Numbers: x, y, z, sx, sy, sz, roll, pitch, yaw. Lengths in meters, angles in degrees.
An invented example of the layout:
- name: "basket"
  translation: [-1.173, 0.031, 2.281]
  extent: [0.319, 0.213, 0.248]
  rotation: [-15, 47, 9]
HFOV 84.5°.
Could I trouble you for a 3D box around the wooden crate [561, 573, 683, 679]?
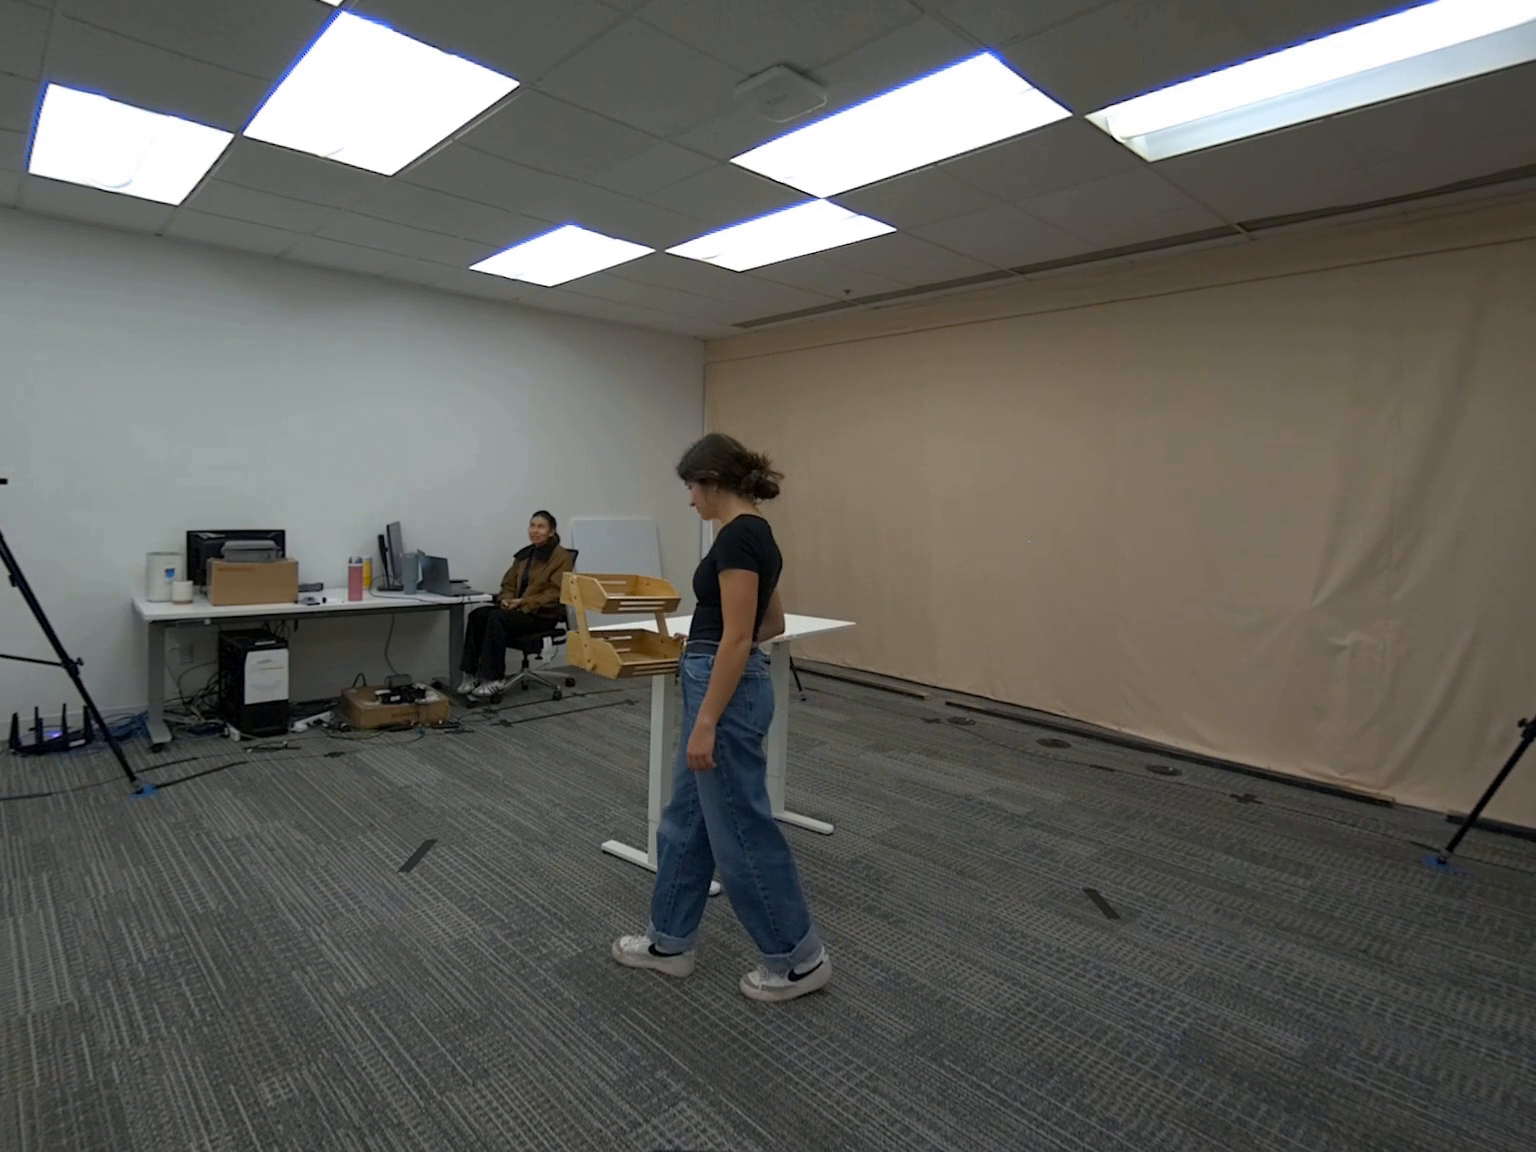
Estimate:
- name: "wooden crate"
  translation: [-0.417, 0.139, 2.520]
  extent: [0.310, 0.273, 0.316]
  rotation: [9, 4, 40]
